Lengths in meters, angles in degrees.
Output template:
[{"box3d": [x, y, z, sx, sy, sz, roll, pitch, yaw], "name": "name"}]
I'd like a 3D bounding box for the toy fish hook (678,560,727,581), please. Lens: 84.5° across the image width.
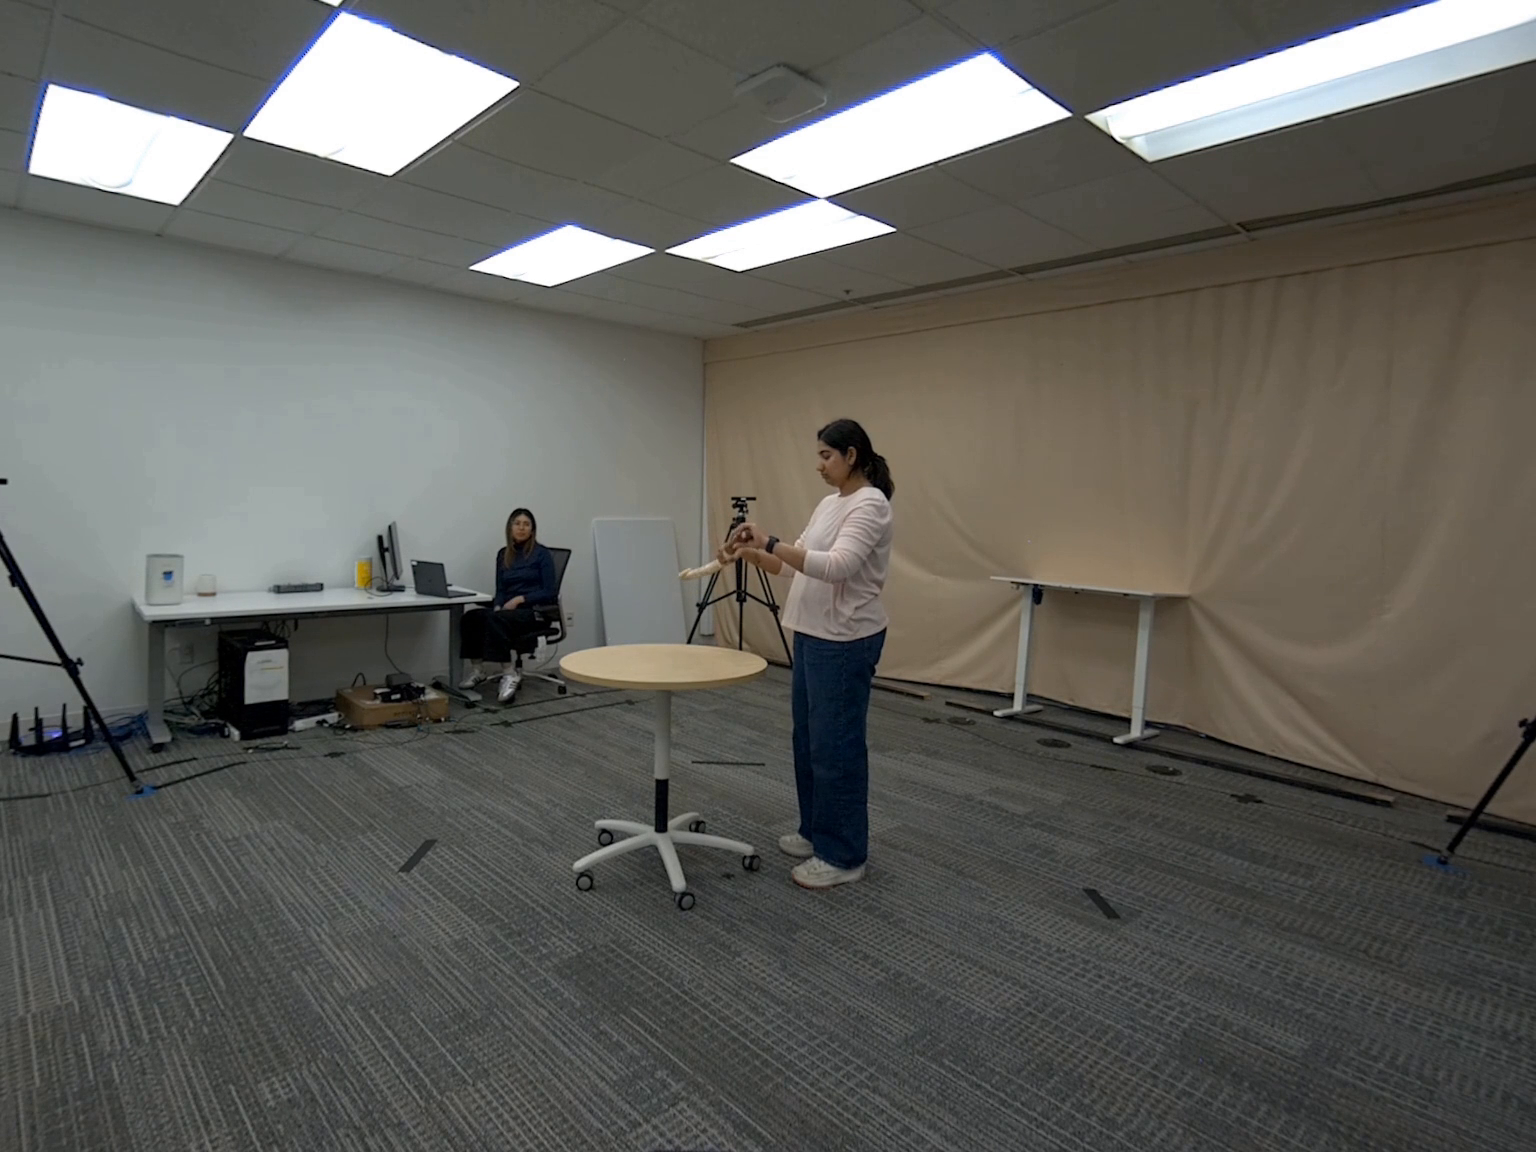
[{"box3d": [-0.190, -0.061, 3.072, 0.222, 0.049, 0.508, -23, -6, -25], "name": "toy fish hook"}]
